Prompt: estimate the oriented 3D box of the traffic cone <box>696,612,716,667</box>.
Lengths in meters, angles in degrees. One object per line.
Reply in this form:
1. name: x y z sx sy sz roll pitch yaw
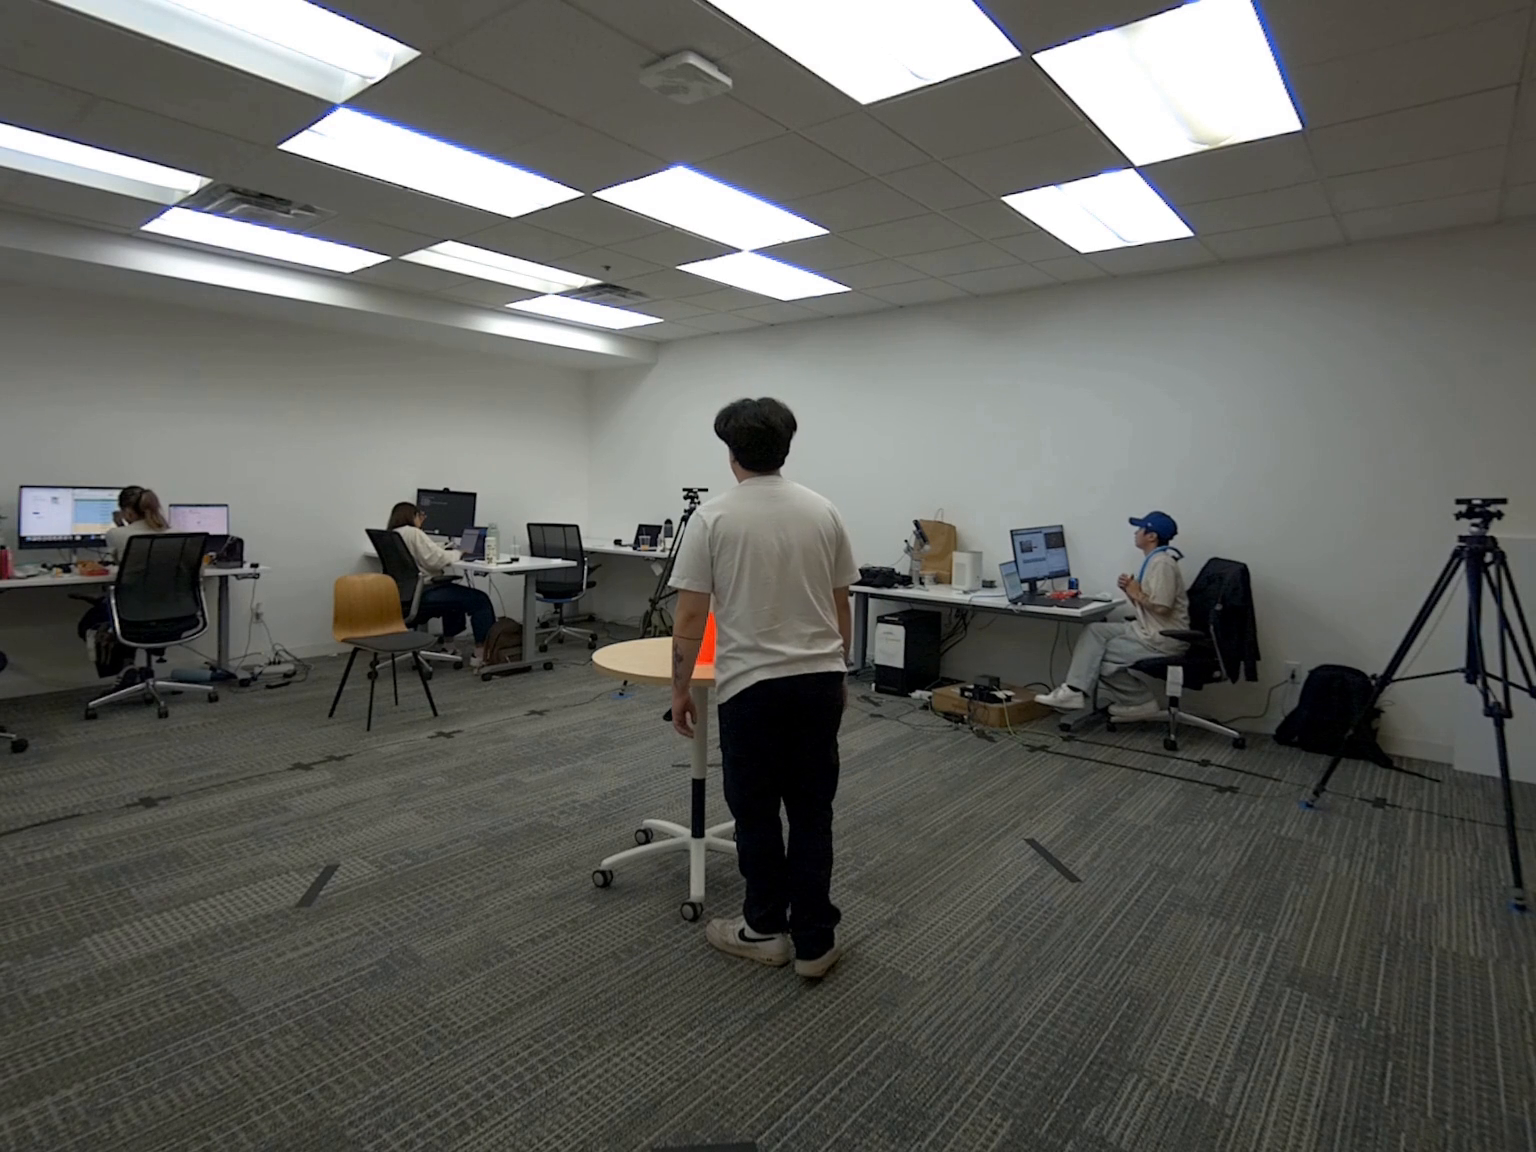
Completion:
1. traffic cone: -0.204 0.100 2.960 0.199 0.383 0.209 -3 3 -31
